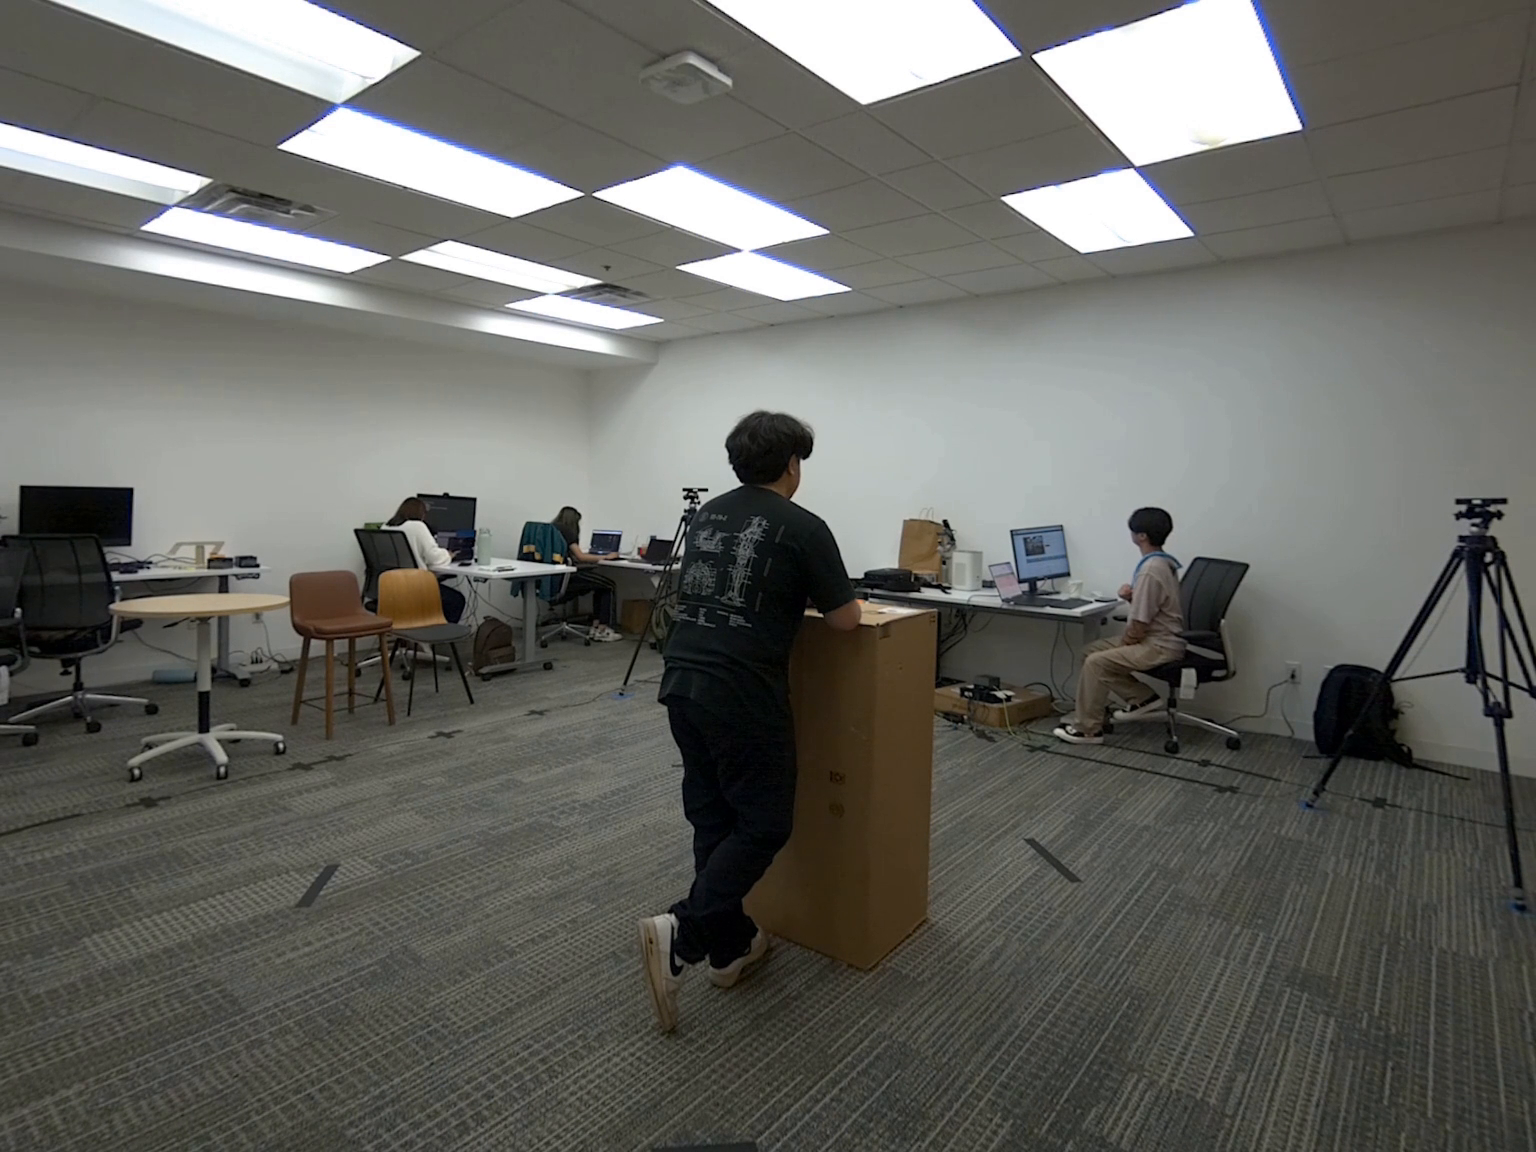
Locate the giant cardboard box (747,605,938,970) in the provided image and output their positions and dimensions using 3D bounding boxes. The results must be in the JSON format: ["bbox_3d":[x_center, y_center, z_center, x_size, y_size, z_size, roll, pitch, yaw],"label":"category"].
[{"bbox_3d":[0.180,0.600,2.782,0.603,1.024,0.433,4,3,37],"label":"giant cardboard box"}]
